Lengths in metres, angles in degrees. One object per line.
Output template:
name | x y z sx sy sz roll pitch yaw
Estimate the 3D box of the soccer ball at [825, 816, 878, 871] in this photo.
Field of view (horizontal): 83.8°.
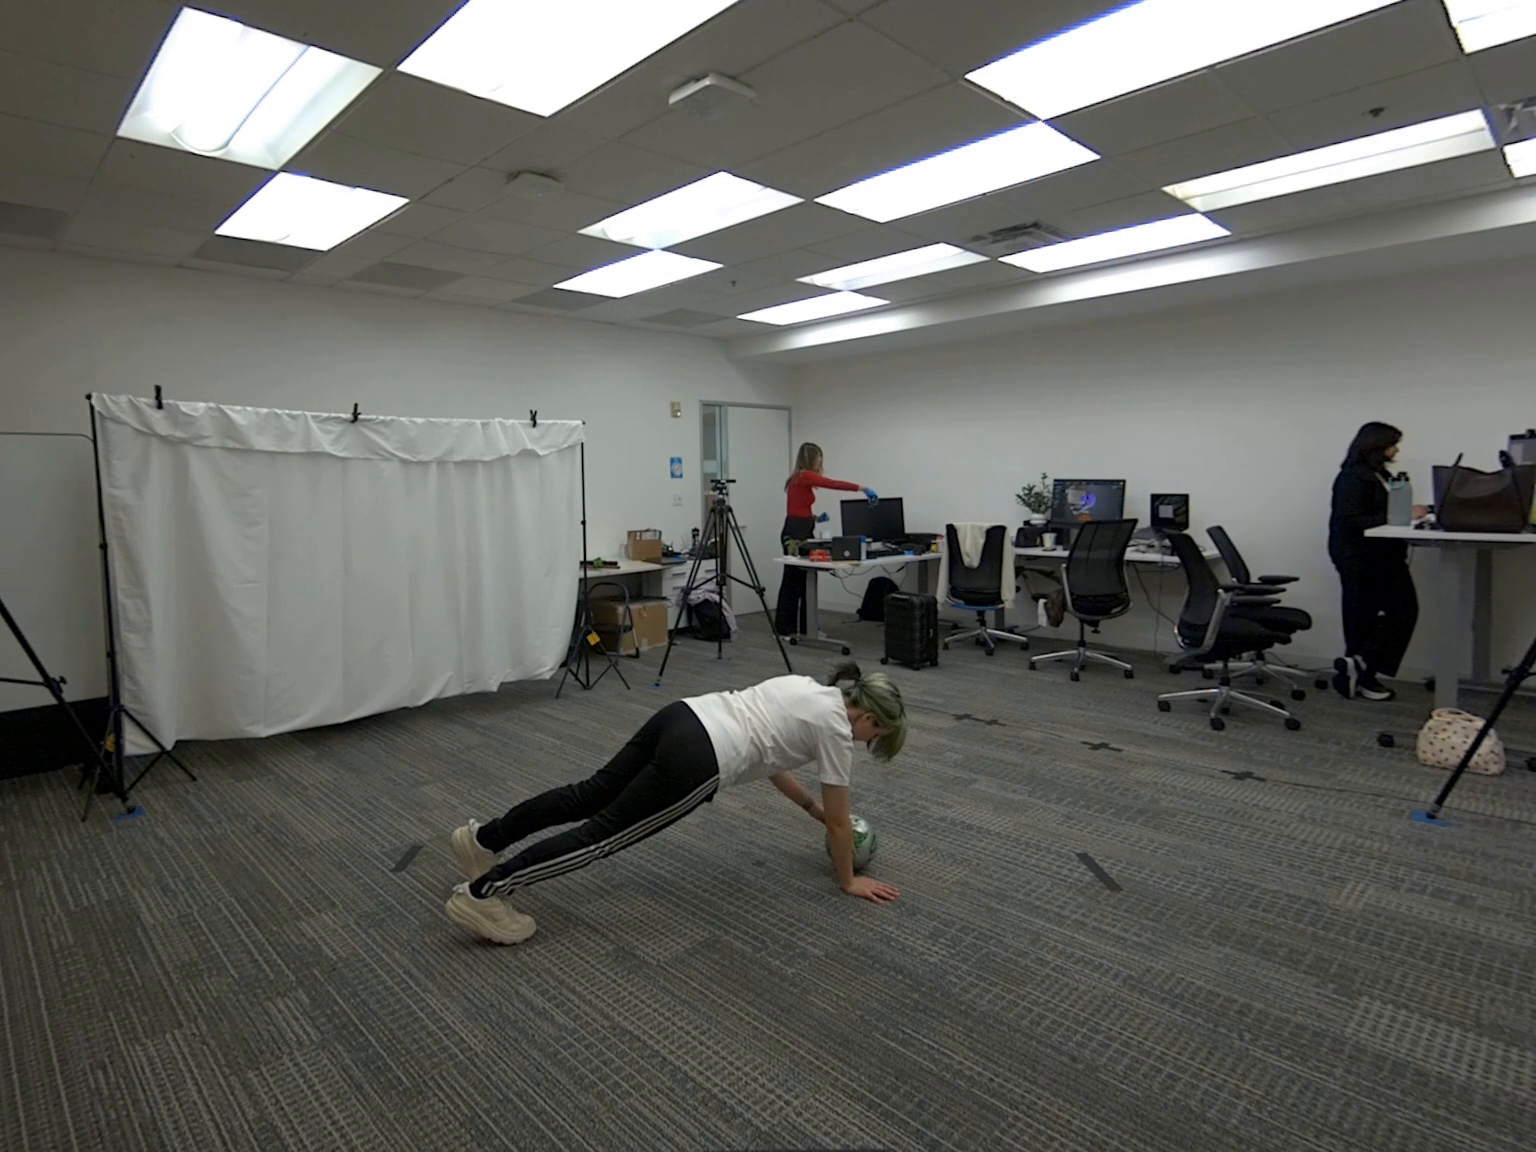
soccer ball | 0.300 0.955 3.064 0.187 0.187 0.188 -1 5 -2
